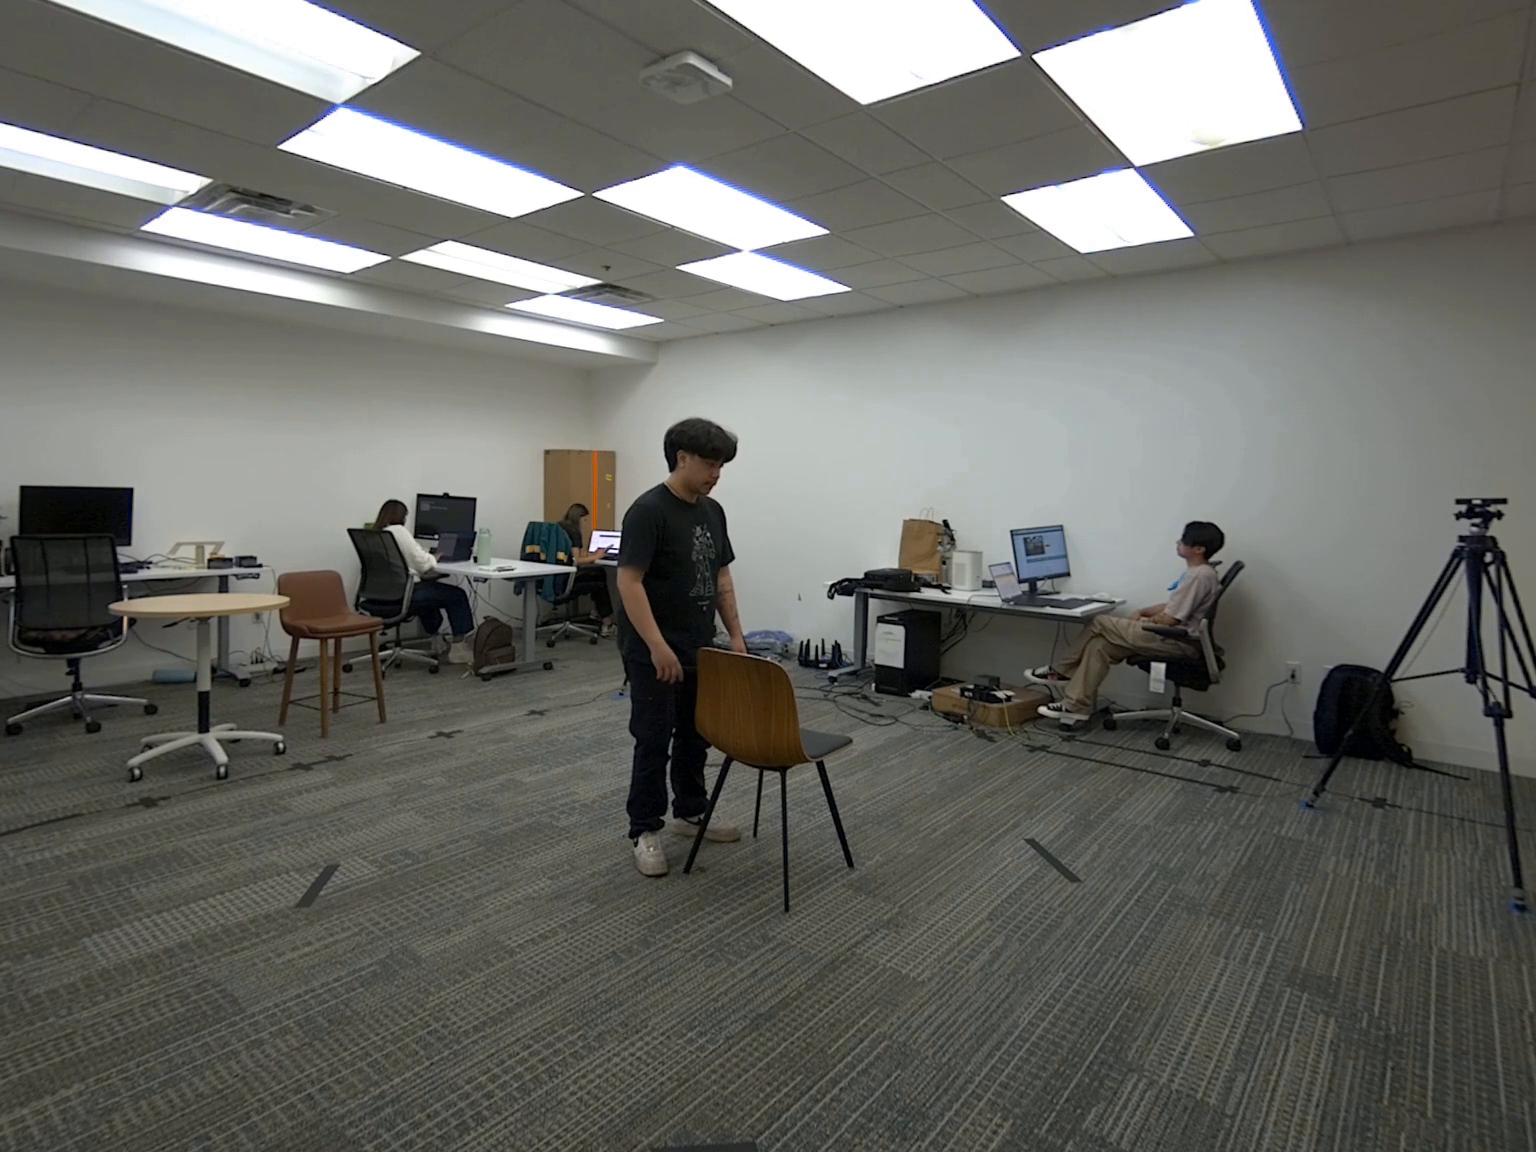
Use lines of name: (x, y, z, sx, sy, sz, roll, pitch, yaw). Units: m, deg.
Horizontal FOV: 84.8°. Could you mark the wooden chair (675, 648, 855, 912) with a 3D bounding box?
wooden chair: (0.013, 0.648, 3.087, 0.493, 0.872, 0.510, 3, 8, 36)
